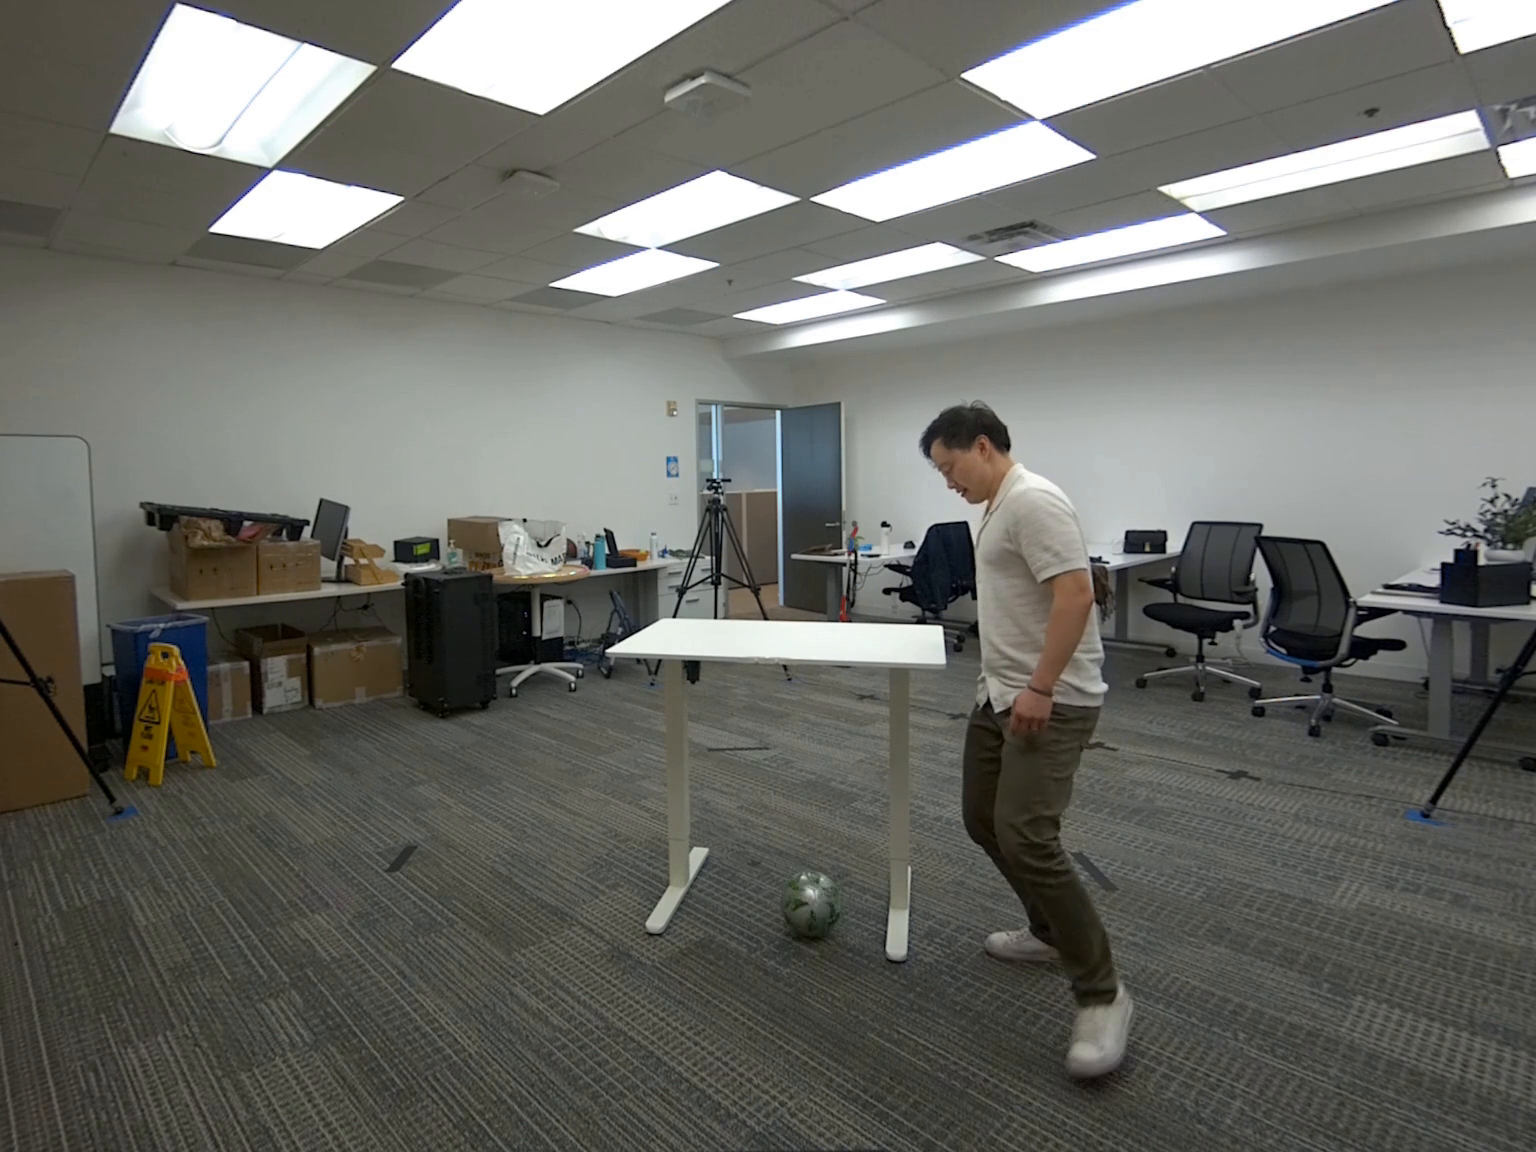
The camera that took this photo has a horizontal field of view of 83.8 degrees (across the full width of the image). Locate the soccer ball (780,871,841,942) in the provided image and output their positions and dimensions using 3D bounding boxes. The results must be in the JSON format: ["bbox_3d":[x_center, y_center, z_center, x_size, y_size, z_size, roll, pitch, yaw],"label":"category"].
[{"bbox_3d":[0.136,1.003,2.620,0.187,0.187,0.188,-1,5,-2],"label":"soccer ball"}]
